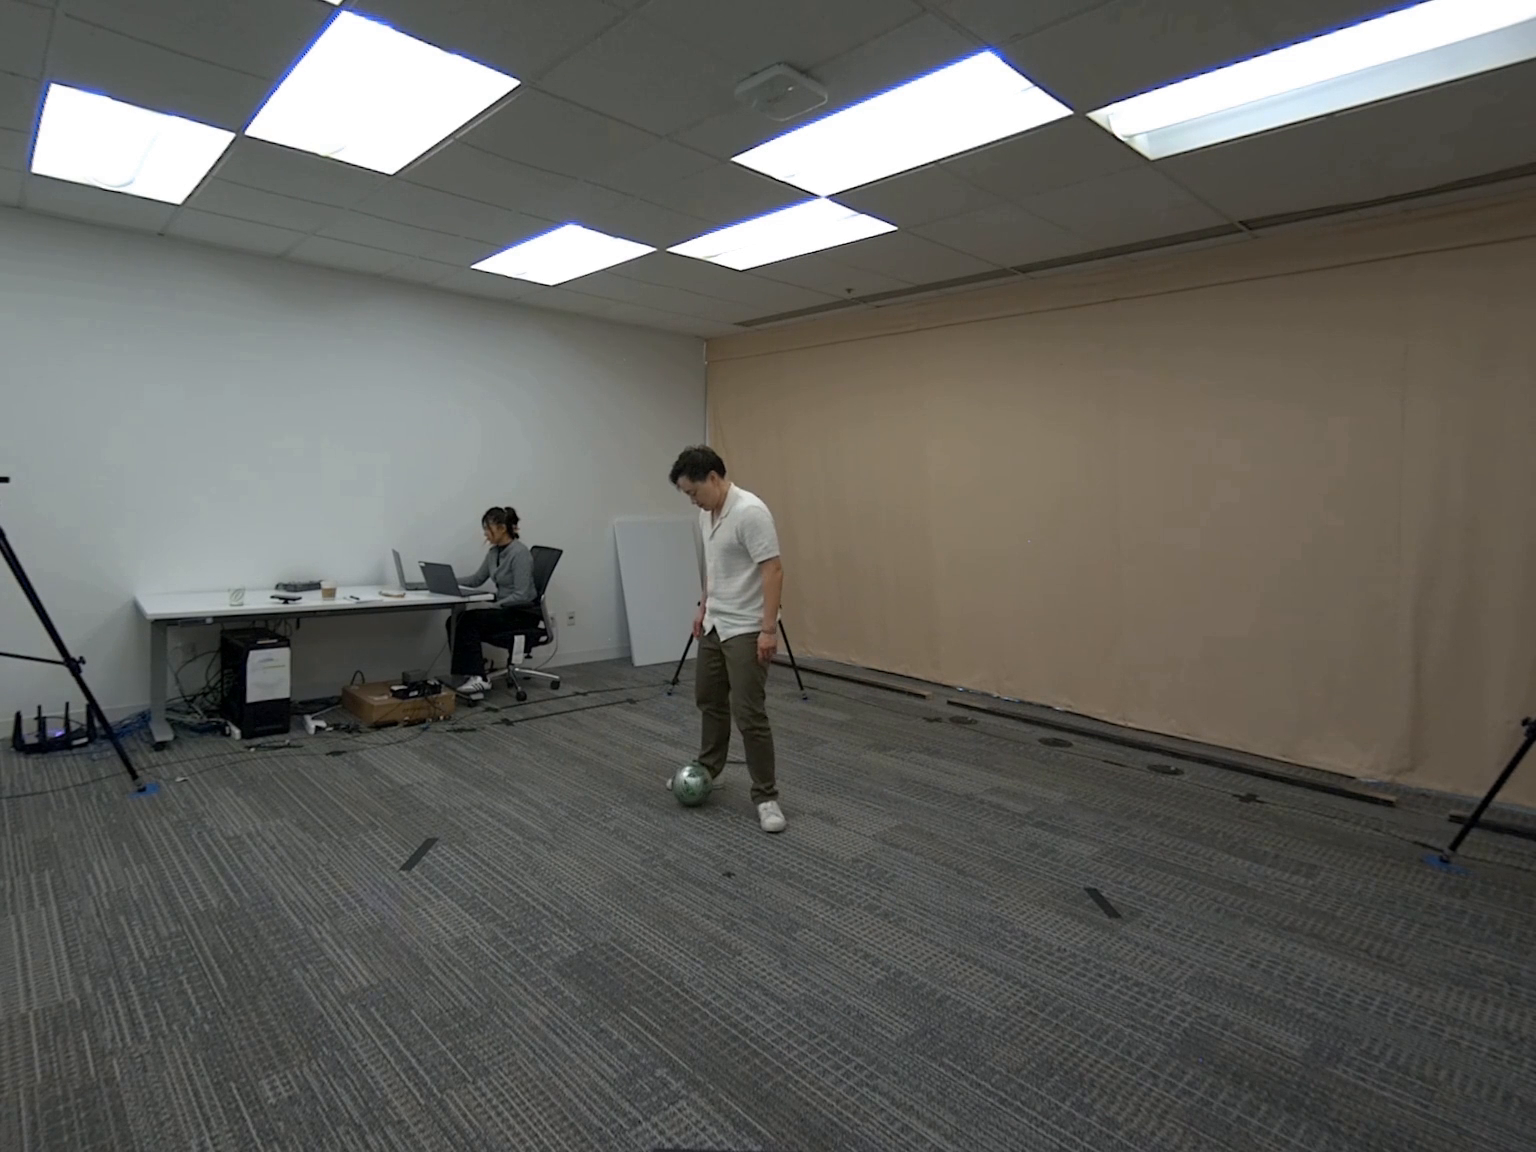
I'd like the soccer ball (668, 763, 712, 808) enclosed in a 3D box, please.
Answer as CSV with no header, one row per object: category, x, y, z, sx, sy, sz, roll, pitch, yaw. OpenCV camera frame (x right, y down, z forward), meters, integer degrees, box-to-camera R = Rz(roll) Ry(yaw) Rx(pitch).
soccer ball,-0.352,0.936,3.806,0.187,0.187,0.188,1,4,-1
